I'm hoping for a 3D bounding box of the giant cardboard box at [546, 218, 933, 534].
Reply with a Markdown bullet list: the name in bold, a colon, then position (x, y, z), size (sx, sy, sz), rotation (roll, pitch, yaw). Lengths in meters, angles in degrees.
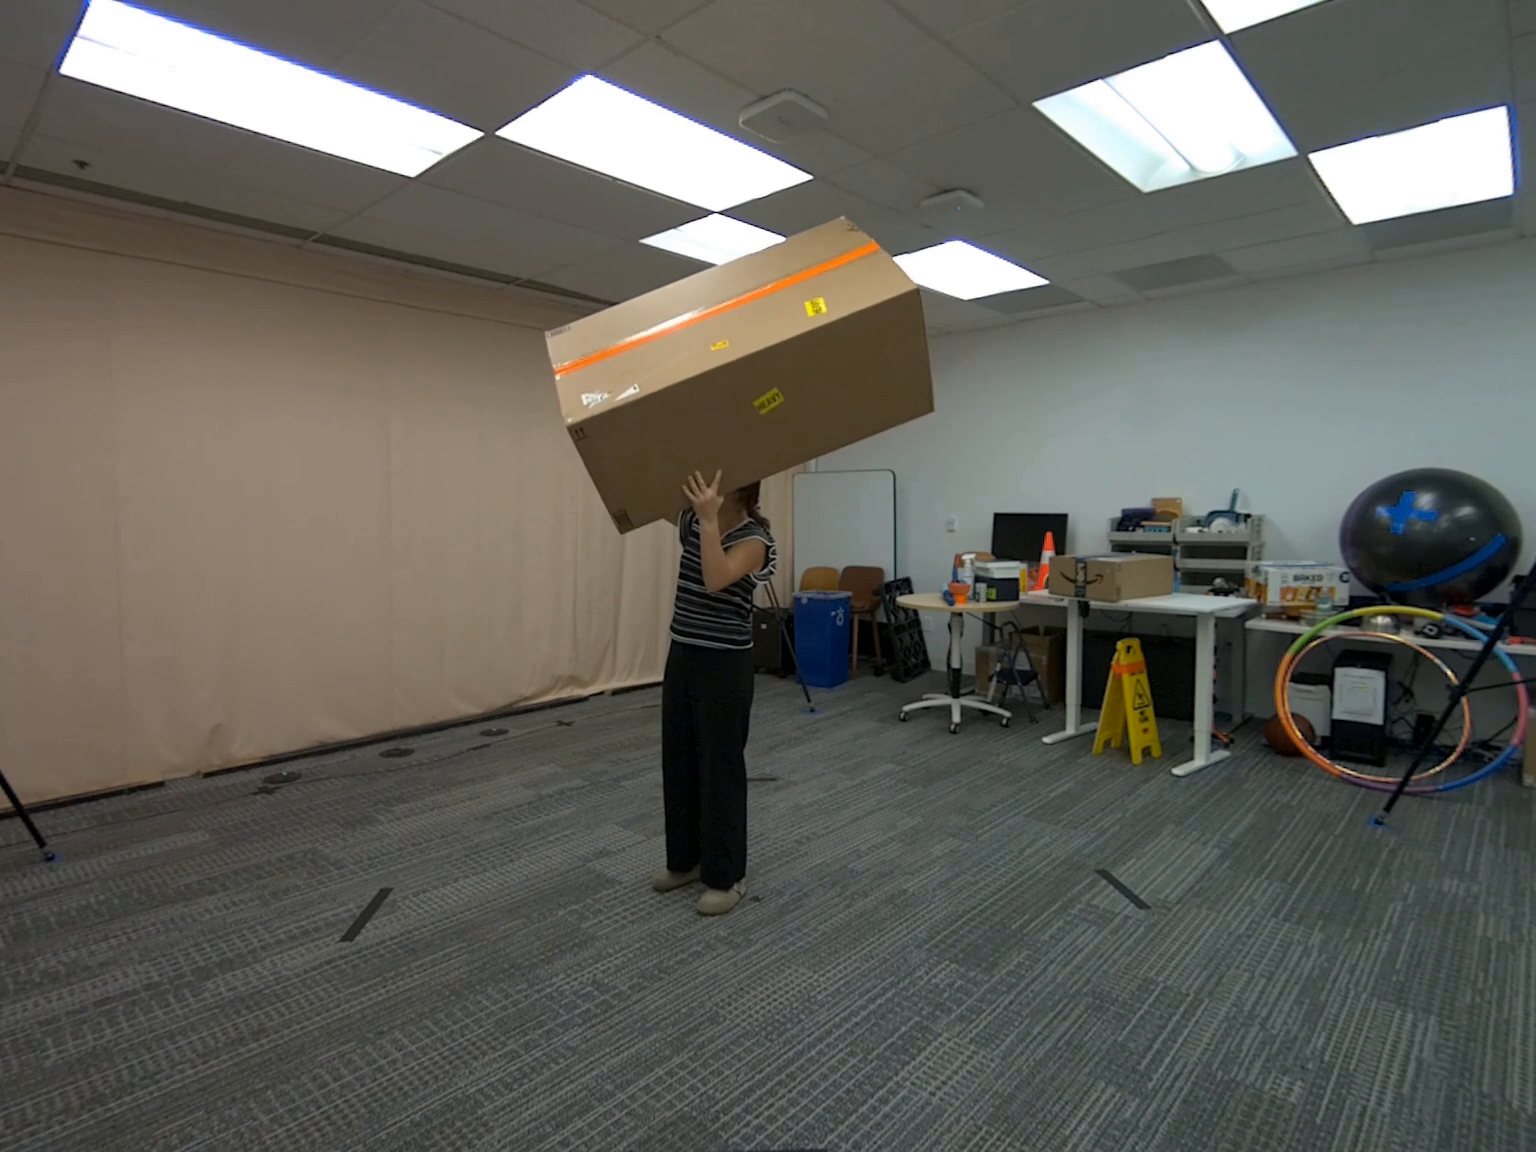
- **giant cardboard box**: position (-0.107, -0.628, 2.598), size (1.026, 0.414, 0.594), rotation (-22, 44, 0)
